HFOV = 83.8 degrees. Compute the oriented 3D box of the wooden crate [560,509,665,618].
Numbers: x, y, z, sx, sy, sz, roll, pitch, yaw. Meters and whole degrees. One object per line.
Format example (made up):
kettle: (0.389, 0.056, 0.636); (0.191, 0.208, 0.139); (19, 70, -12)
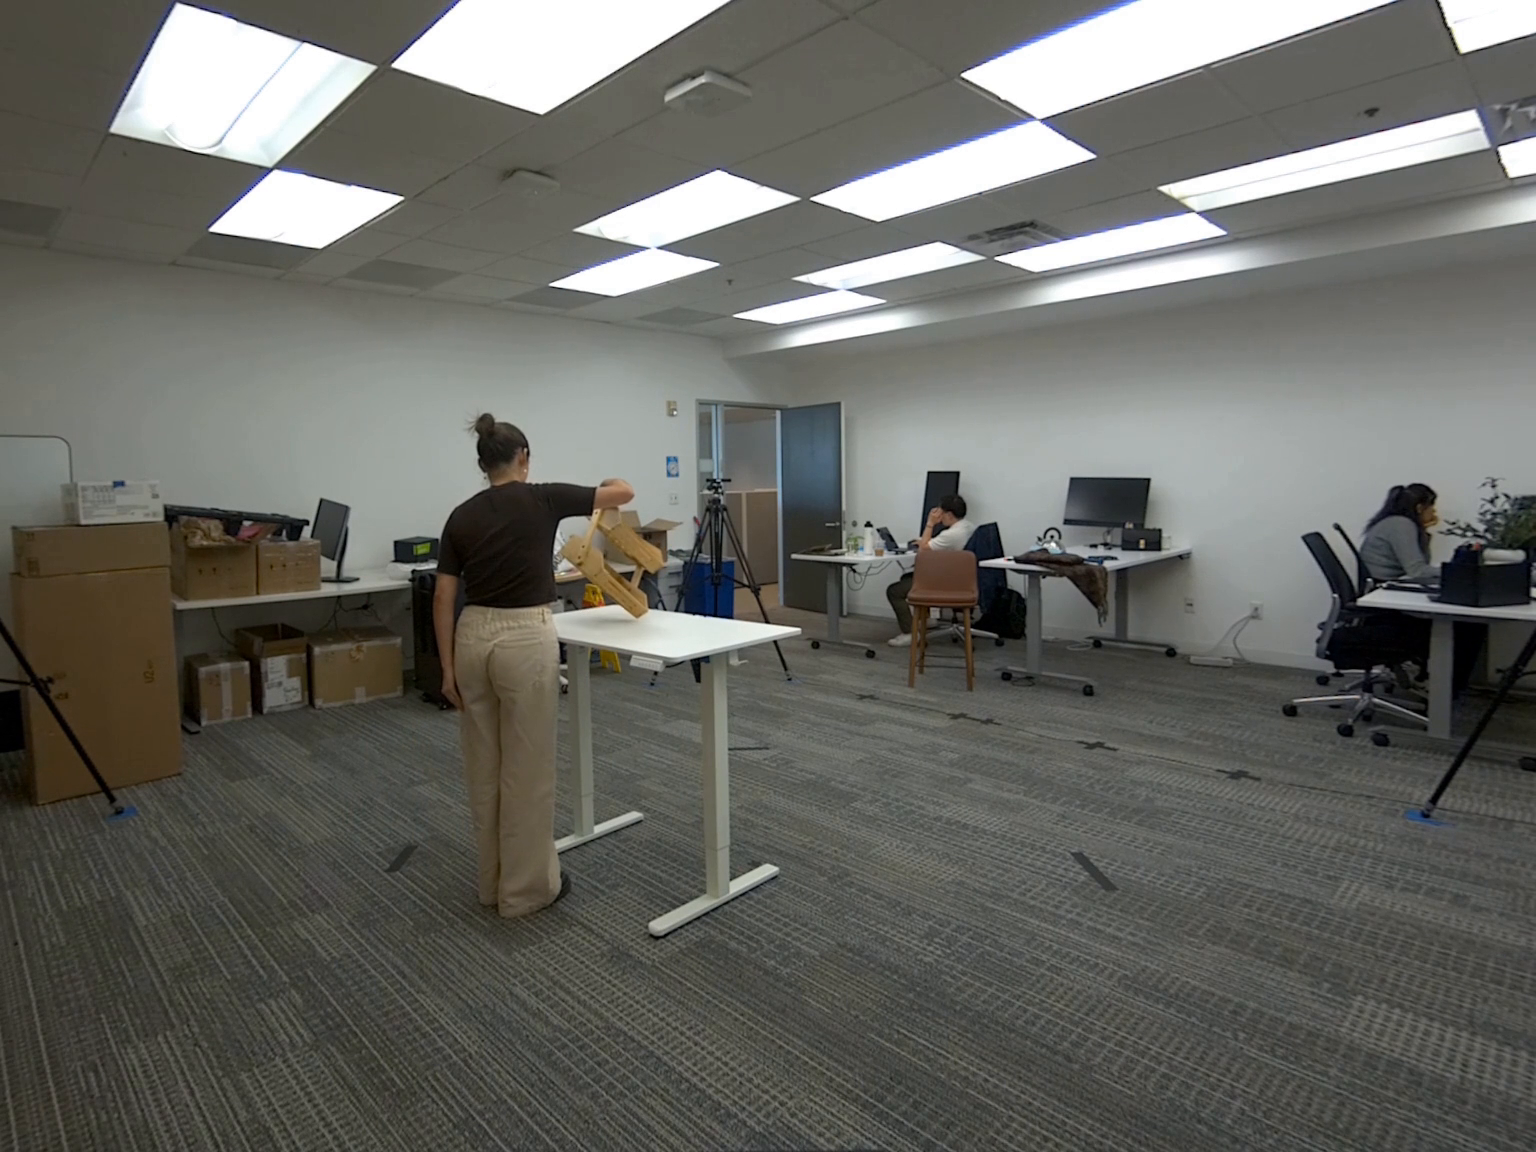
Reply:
wooden crate: (-0.545, -0.072, 3.171); (0.314, 0.273, 0.312); (29, -14, 42)
